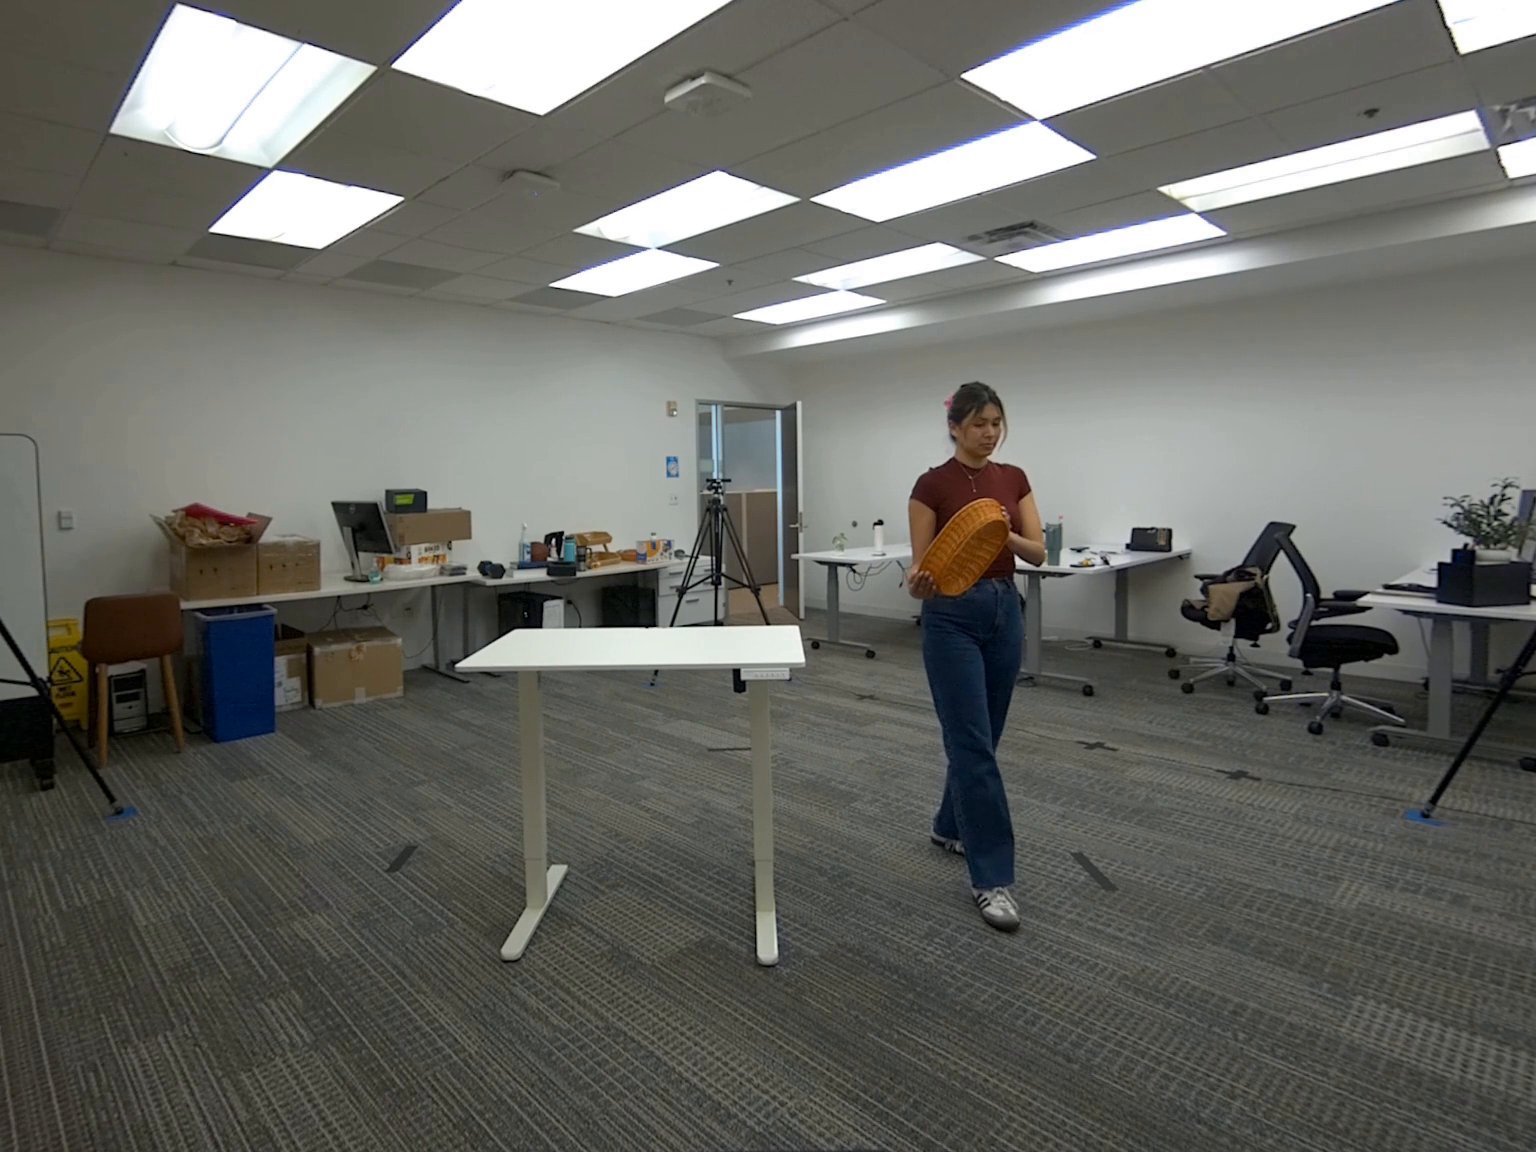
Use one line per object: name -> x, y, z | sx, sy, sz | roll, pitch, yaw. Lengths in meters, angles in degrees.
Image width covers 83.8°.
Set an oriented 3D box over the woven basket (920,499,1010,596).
woven basket -> 0.599, -0.070, 2.584 | 0.244, 0.348, 0.076 | 12, 27, -42
